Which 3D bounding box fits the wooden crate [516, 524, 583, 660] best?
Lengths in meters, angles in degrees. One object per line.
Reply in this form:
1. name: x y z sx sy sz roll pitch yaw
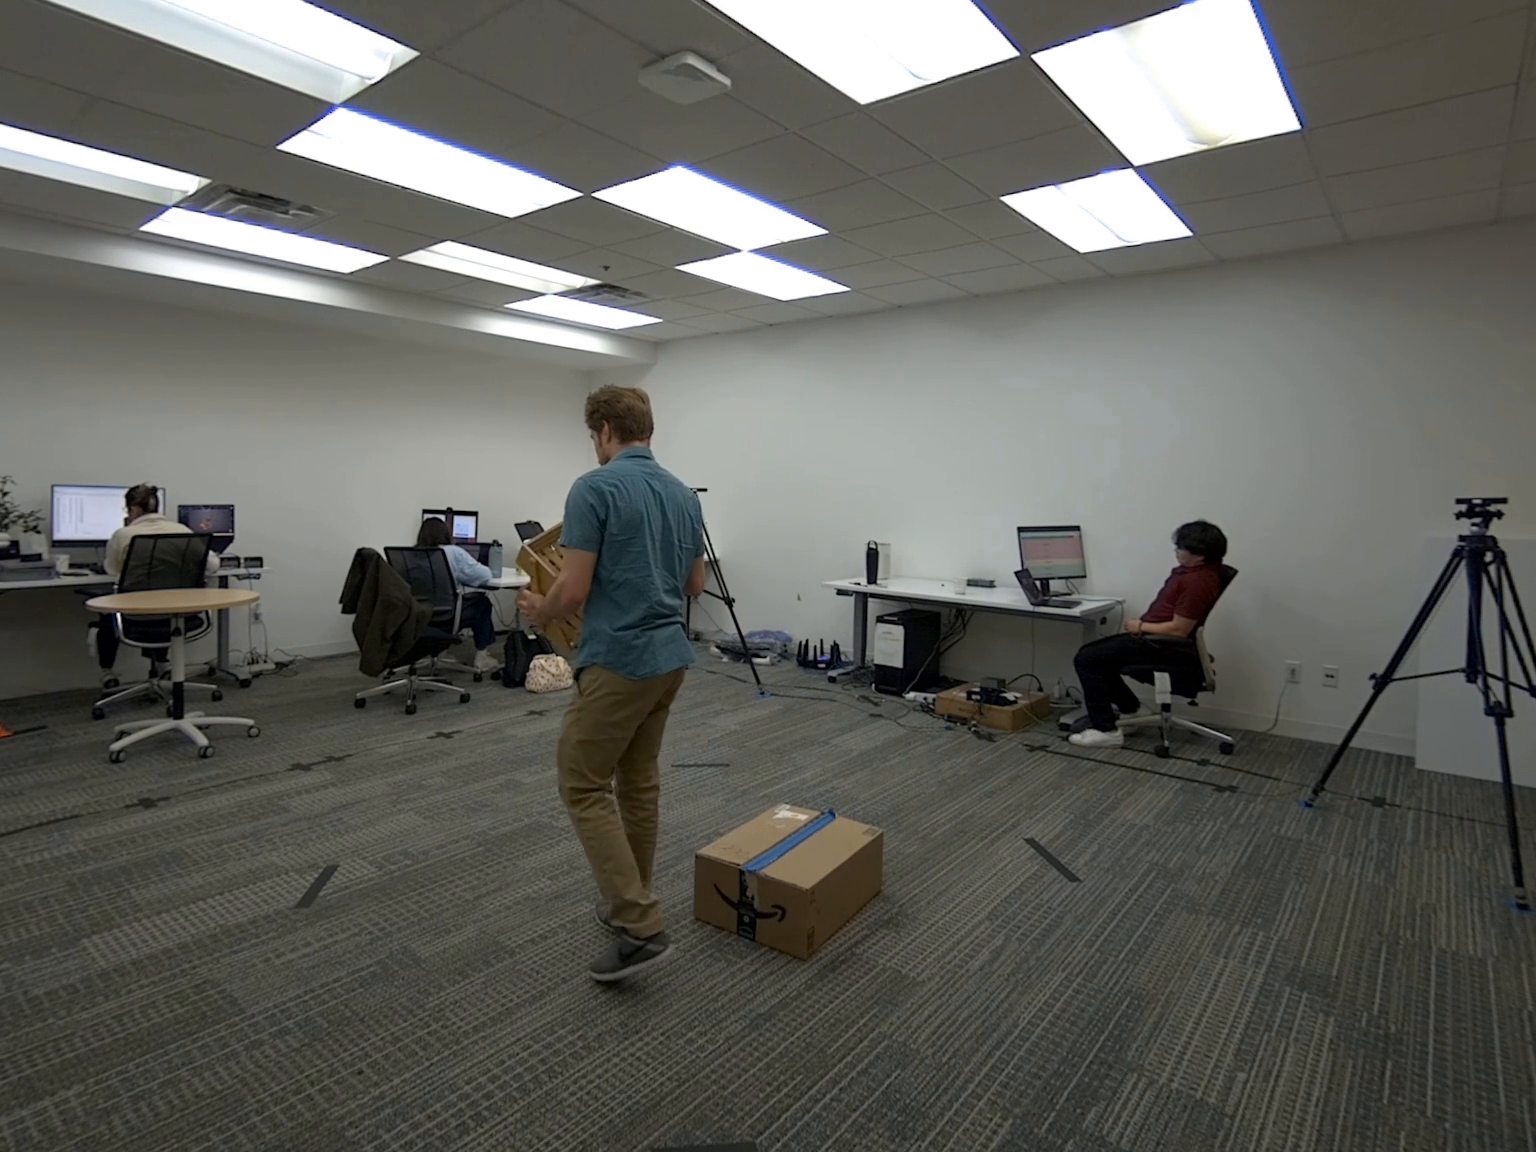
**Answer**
1. wooden crate: -0.607 0.012 2.714 0.322 0.307 0.271 -38 -12 -44
